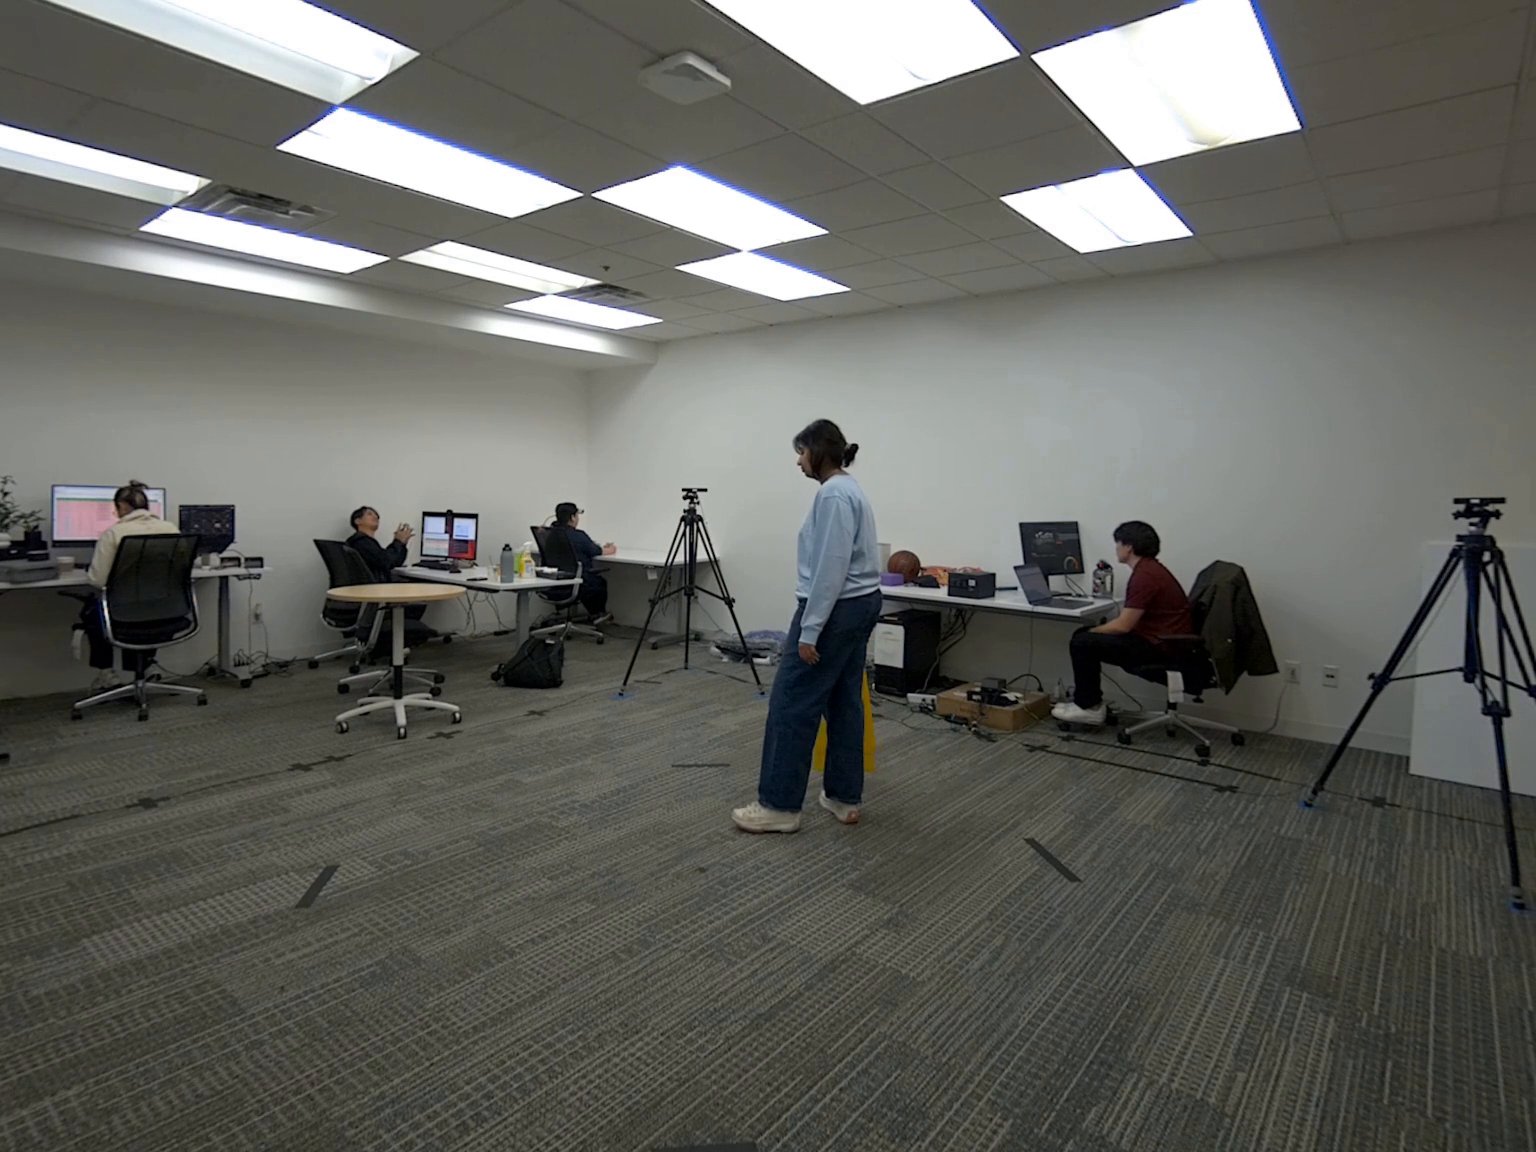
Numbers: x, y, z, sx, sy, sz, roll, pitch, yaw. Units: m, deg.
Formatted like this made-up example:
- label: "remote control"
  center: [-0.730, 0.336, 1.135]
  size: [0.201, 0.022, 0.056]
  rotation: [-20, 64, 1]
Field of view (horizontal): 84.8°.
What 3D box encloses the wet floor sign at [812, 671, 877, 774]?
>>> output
- label: "wet floor sign"
  center: [0.329, 0.563, 3.989]
  size: [0.286, 0.640, 0.289]
  rotation: [-4, 10, 11]
